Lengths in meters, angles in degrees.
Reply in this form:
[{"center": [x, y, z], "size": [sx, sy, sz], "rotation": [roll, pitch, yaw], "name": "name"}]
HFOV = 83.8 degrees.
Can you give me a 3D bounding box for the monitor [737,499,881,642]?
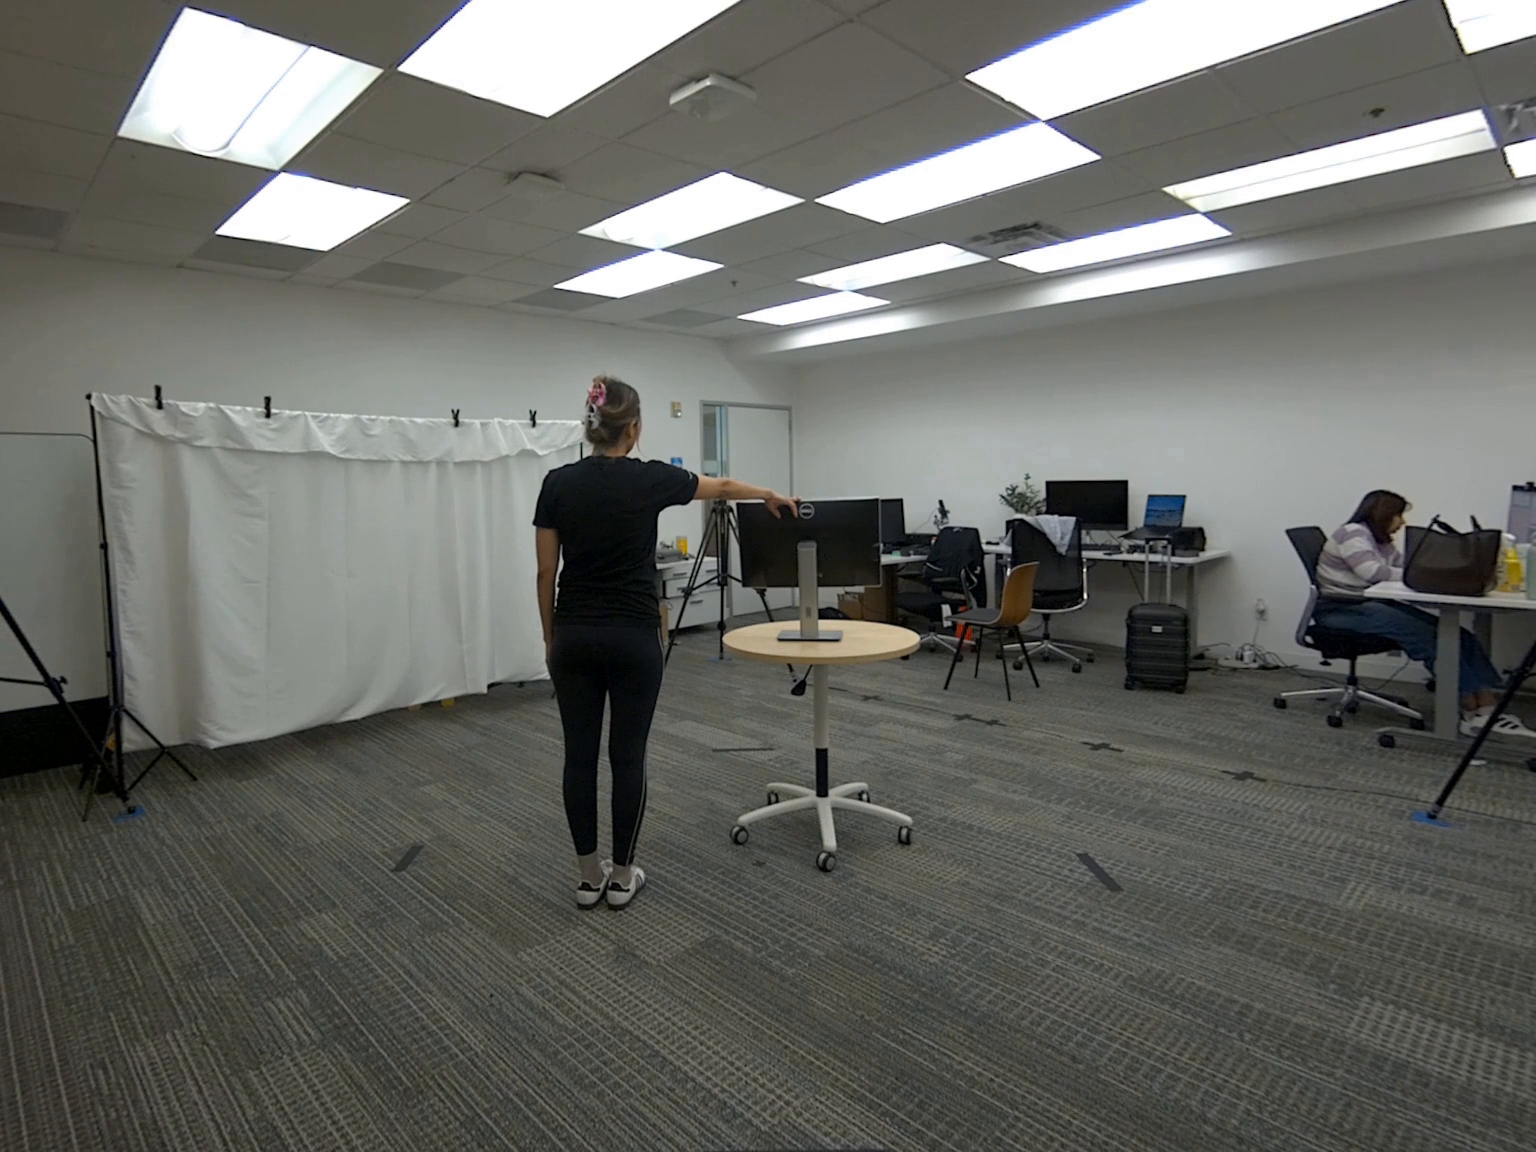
[{"center": [0.156, -0.022, 3.329], "size": [0.543, 0.520, 0.186], "rotation": [-1, 4, 8], "name": "monitor"}]
